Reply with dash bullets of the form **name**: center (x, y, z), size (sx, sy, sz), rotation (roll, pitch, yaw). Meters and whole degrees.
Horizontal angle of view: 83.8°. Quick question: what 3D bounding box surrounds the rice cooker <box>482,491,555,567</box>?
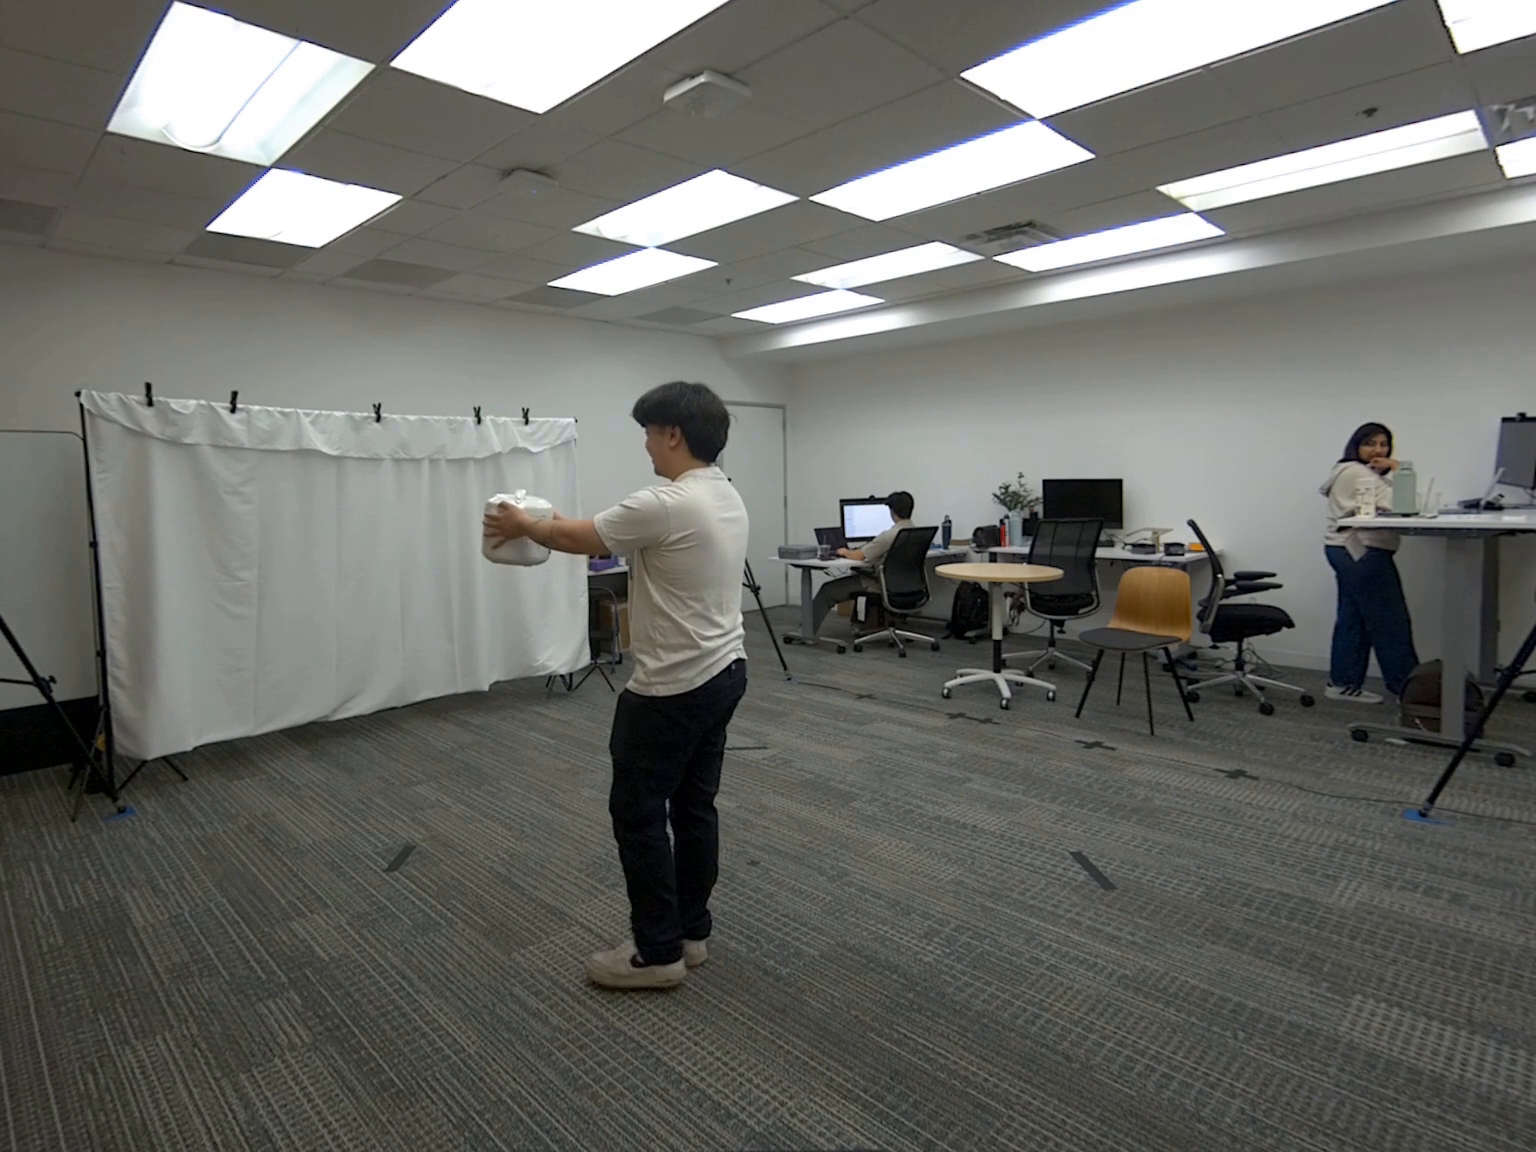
- **rice cooker**: center (-0.786, -0.157, 2.704), size (0.216, 0.231, 0.224), rotation (5, 9, -9)
